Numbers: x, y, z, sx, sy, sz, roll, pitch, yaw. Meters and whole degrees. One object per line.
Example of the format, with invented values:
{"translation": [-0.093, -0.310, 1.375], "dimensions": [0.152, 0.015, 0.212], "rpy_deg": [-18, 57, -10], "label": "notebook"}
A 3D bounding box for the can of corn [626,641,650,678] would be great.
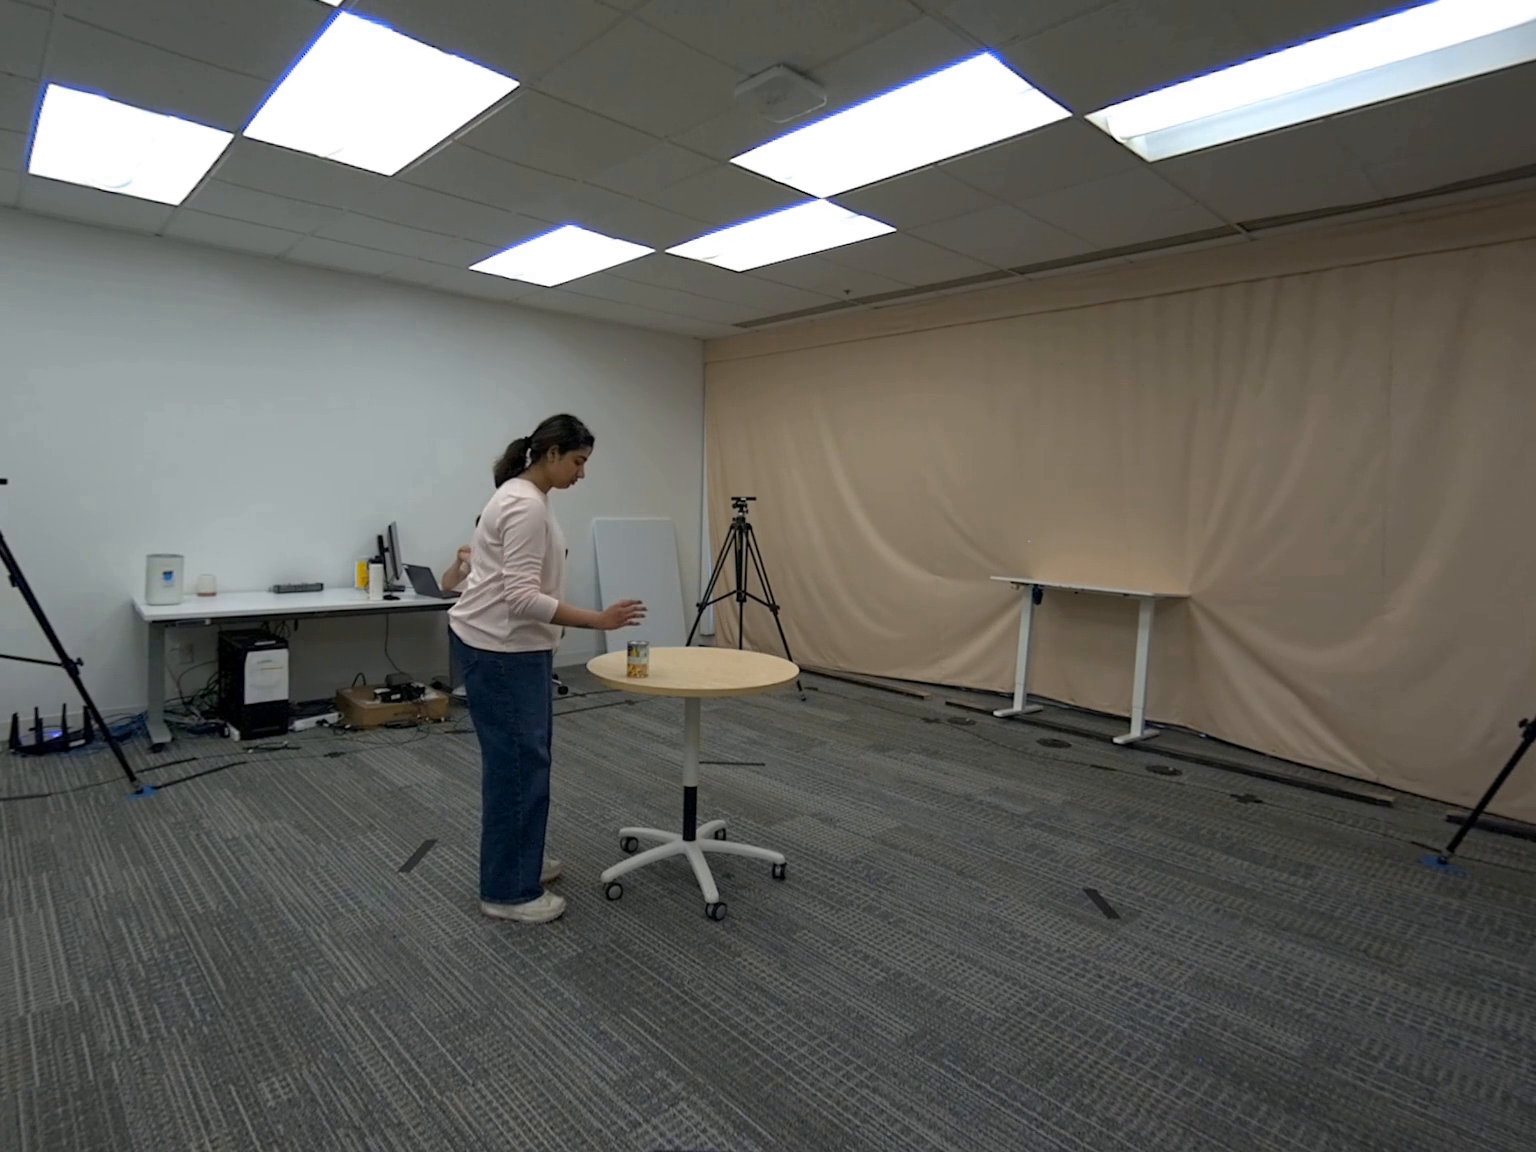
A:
{"translation": [-0.444, 0.281, 2.824], "dimensions": [0.074, 0.111, 0.074], "rpy_deg": [4, 4, -2], "label": "can of corn"}
